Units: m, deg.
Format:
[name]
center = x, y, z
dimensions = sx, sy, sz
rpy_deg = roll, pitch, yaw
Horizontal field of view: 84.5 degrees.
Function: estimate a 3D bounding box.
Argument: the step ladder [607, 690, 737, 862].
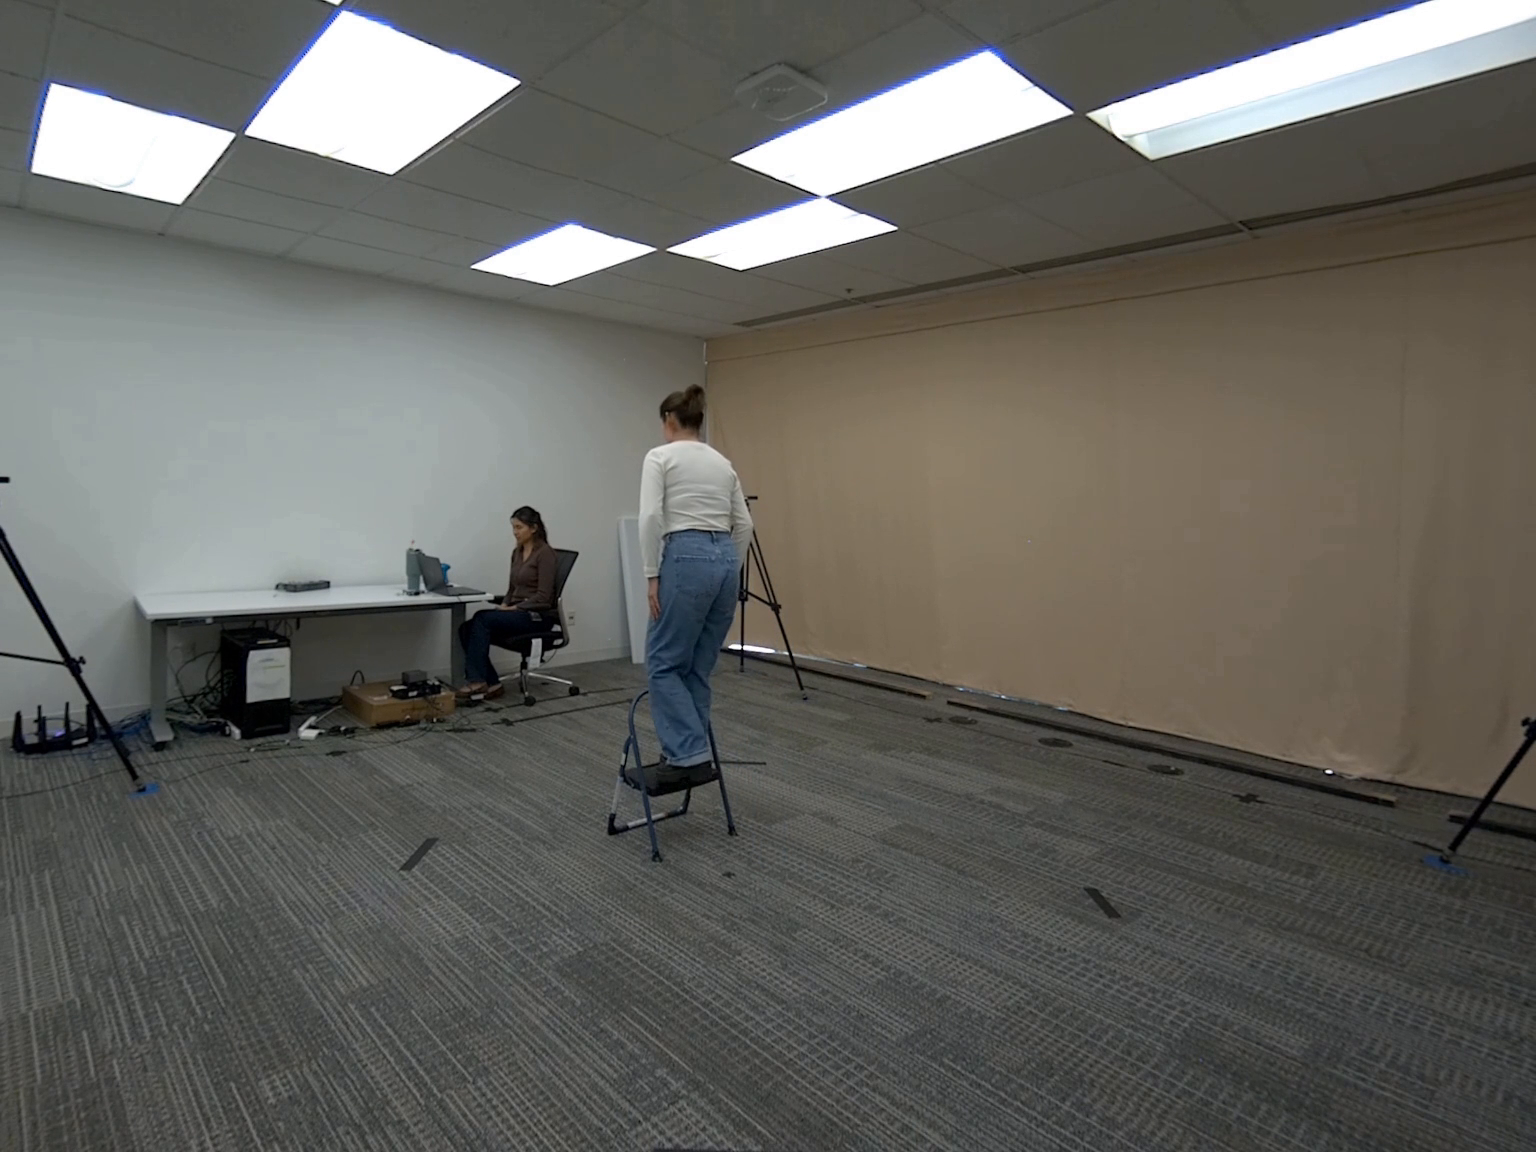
[step ladder]
center = -0.393, 0.763, 3.449
dimensions = 0.421, 0.605, 0.358
rpy_deg = -2, 5, -45
